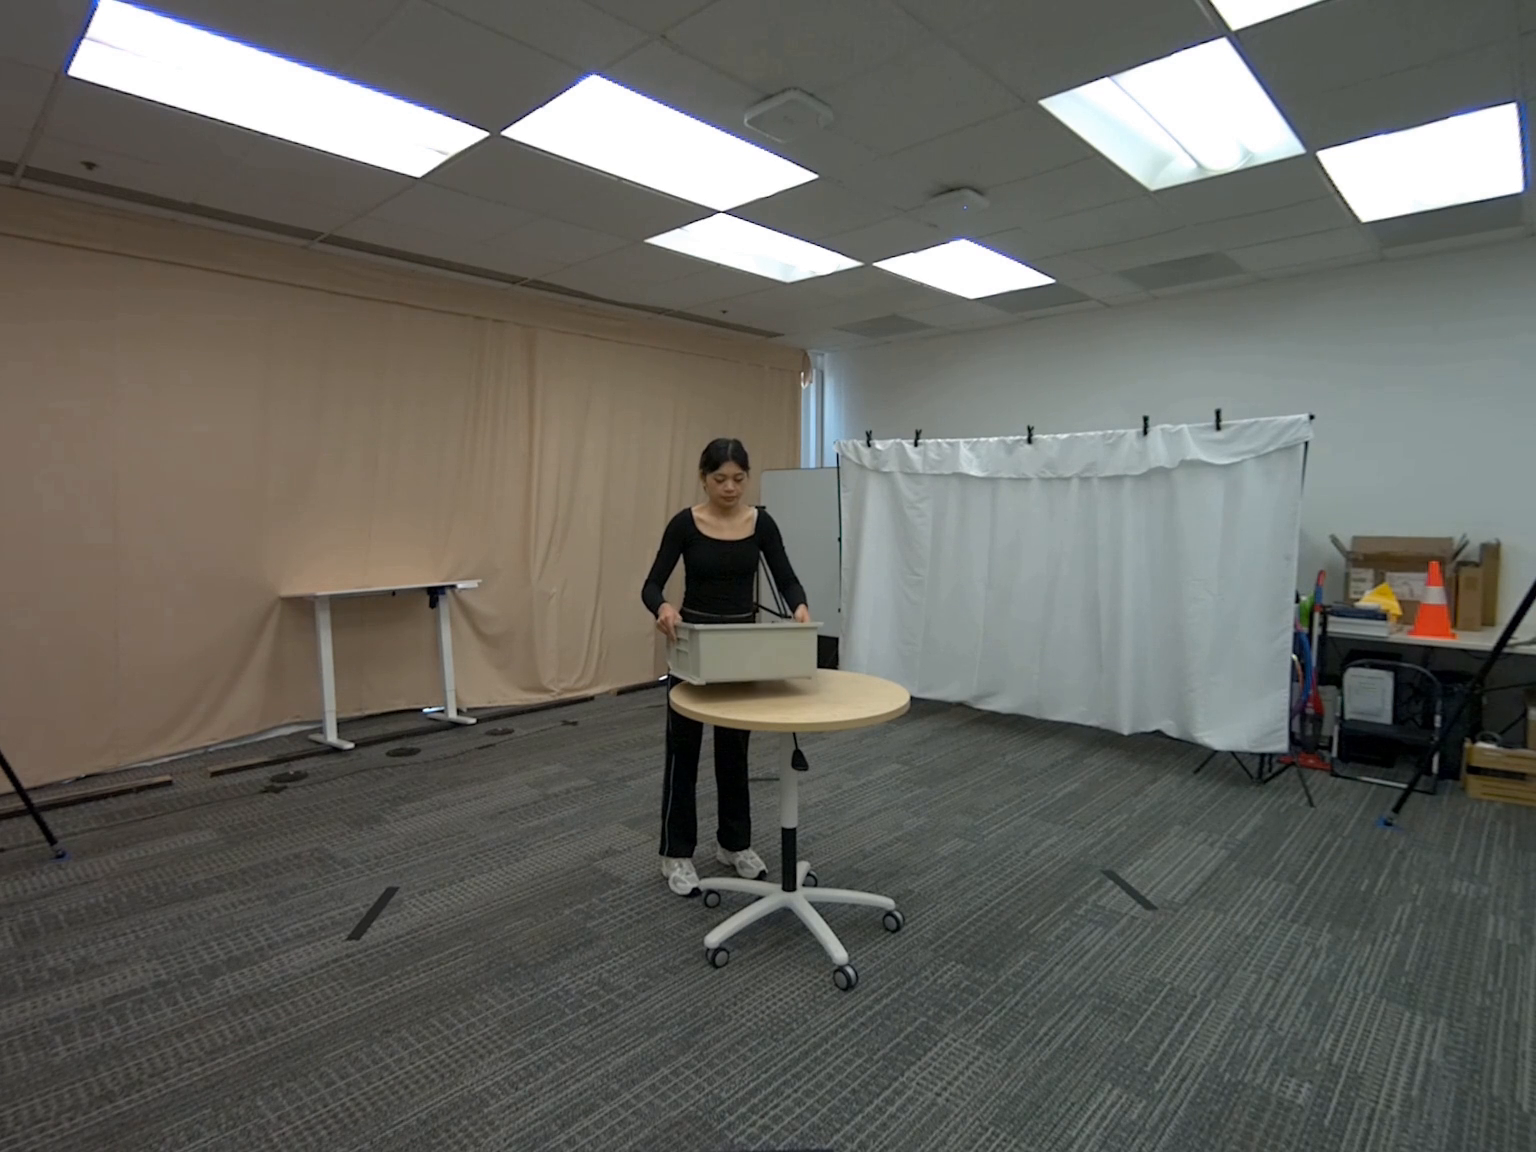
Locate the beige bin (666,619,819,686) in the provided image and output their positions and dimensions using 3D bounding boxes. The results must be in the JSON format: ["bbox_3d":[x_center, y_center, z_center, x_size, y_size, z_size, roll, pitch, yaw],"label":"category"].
[{"bbox_3d":[-0.083,0.232,2.748,0.414,0.189,0.385,1,2,-18],"label":"beige bin"}]
